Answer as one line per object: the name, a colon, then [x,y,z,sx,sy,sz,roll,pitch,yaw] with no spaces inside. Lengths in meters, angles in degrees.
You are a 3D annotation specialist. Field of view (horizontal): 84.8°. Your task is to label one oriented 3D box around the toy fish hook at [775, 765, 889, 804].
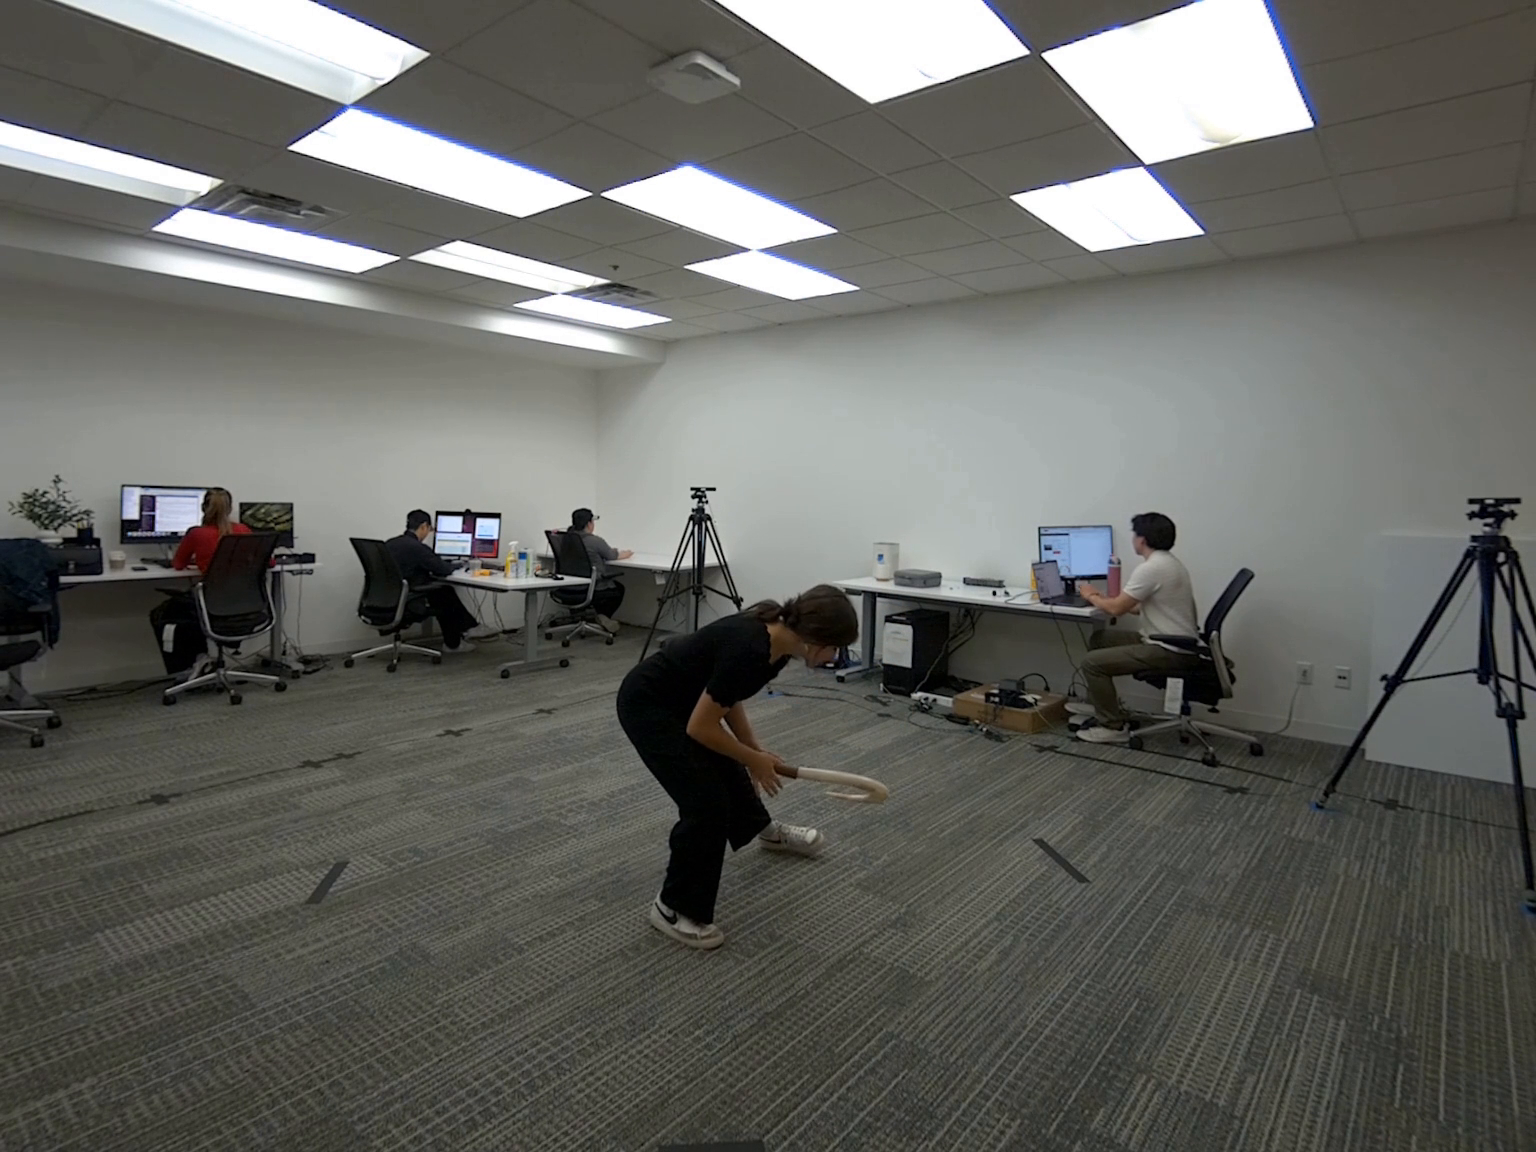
toy fish hook: [0.136,0.682,2.812,0.510,0.049,0.219,12,-37,6]
